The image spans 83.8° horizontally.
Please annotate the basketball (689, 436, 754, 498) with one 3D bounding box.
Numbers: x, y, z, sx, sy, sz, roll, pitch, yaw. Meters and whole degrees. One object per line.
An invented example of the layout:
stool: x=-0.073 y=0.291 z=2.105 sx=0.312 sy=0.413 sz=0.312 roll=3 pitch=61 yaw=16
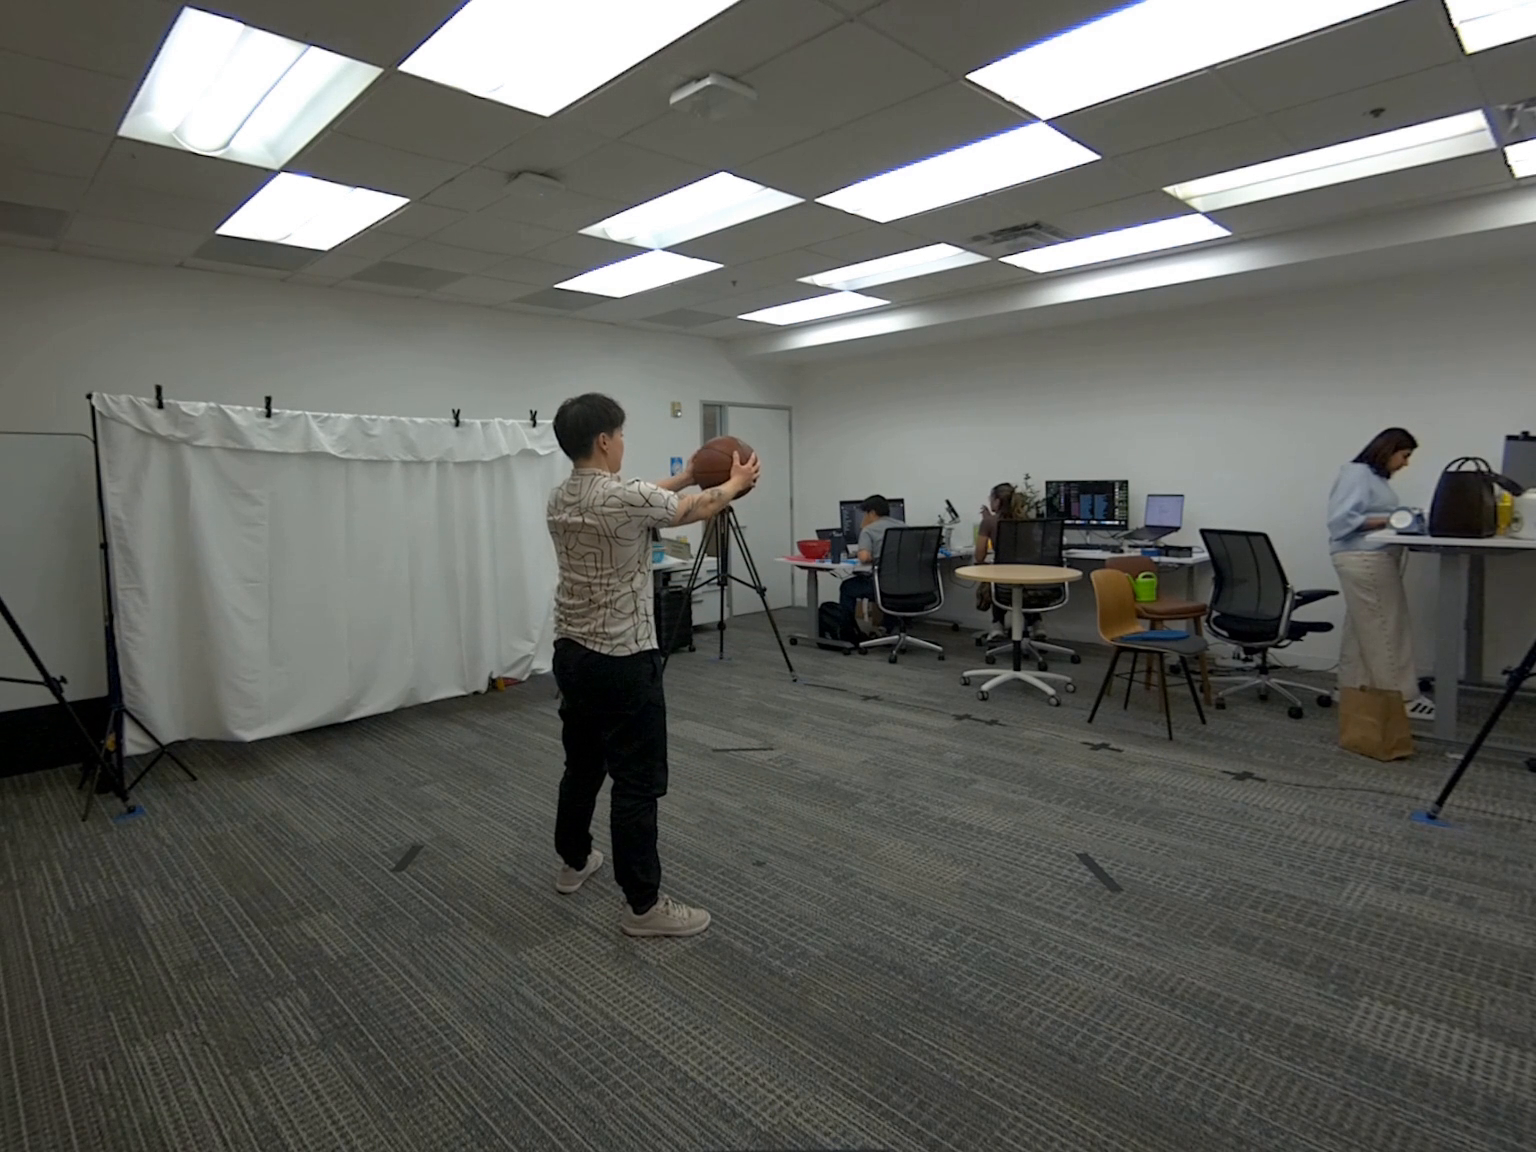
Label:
basketball: x=-0.148 y=-0.393 z=3.140 sx=0.236 sy=0.235 sz=0.237 roll=-1 pitch=5 yaw=-2
